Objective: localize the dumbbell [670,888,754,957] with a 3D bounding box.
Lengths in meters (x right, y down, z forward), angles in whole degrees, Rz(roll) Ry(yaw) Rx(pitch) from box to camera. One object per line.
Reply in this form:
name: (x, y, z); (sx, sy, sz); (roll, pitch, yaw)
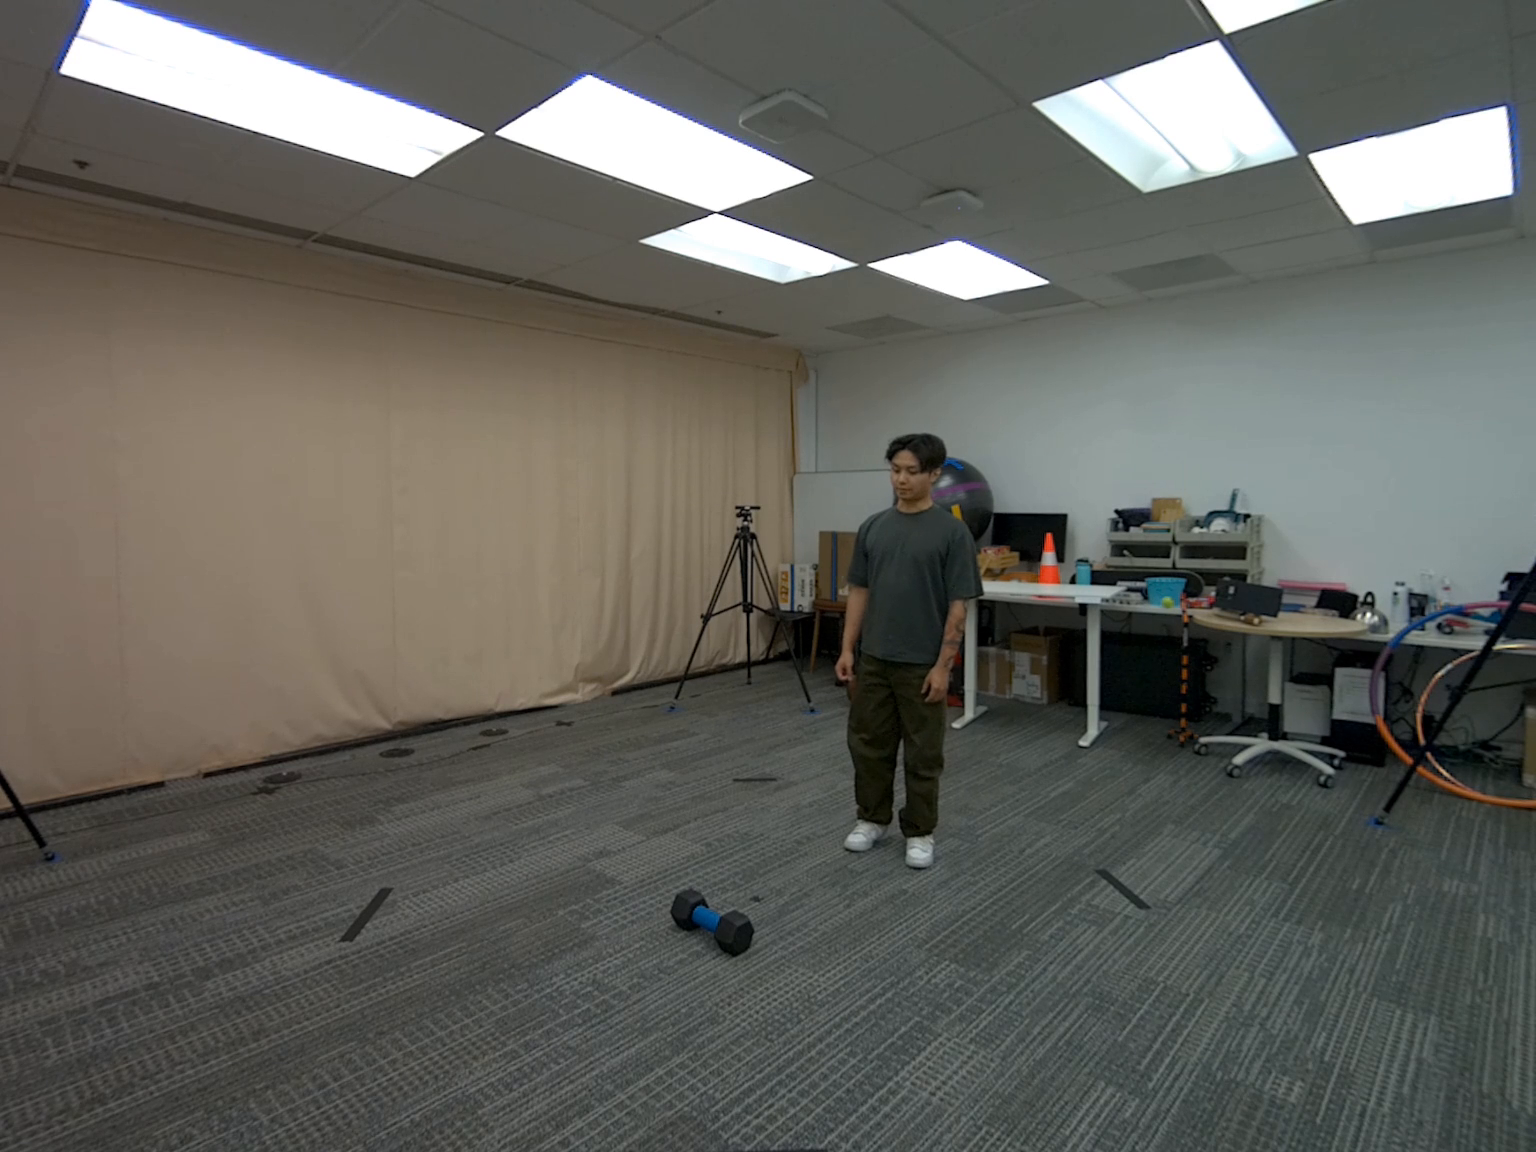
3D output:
dumbbell: (-0.181, 1.113, 2.713); (0.303, 0.120, 0.107); (4, 36, 45)
